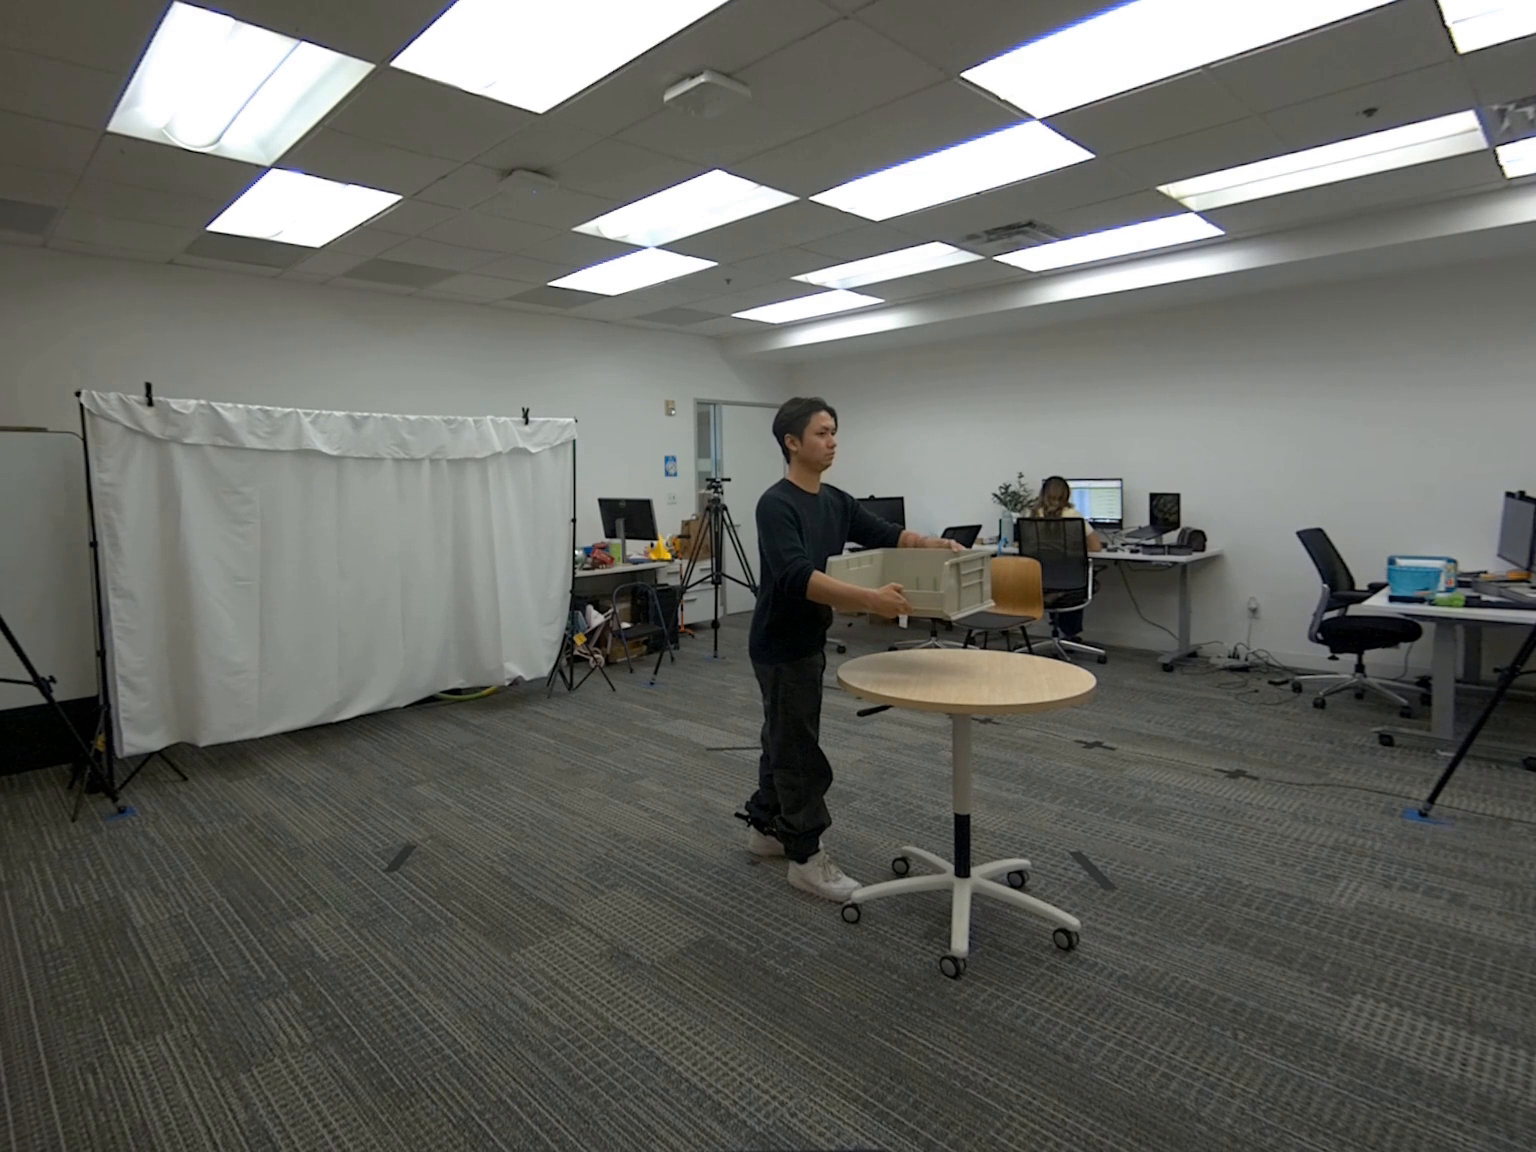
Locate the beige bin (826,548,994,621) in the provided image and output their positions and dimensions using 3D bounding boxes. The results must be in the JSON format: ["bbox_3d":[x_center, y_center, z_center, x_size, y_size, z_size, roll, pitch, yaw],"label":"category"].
[{"bbox_3d":[0.450,0.019,2.725,0.434,0.188,0.368,1,5,38],"label":"beige bin"}]
